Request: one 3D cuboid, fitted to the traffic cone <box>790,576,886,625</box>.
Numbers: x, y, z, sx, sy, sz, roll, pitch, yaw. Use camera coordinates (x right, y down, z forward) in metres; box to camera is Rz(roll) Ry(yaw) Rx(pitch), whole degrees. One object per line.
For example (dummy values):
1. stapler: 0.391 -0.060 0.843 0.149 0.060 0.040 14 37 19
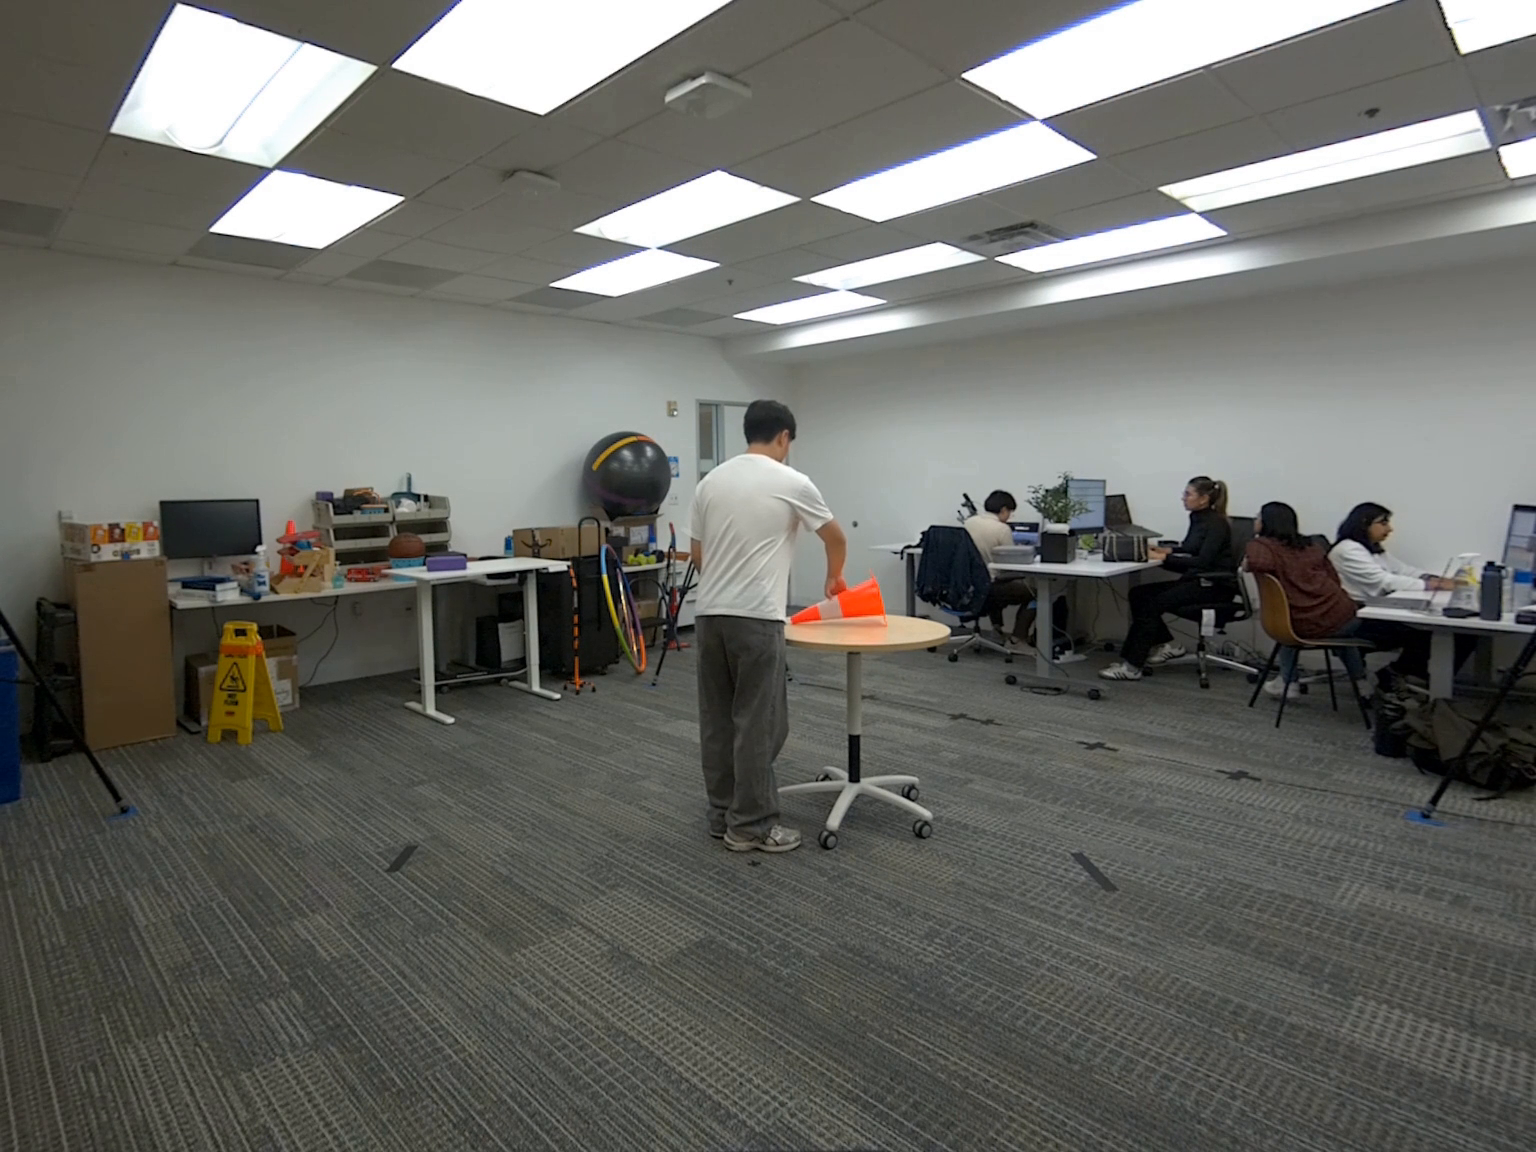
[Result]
1. traffic cone: 0.273 0.138 3.587 0.385 0.200 0.207 -14 22 4
